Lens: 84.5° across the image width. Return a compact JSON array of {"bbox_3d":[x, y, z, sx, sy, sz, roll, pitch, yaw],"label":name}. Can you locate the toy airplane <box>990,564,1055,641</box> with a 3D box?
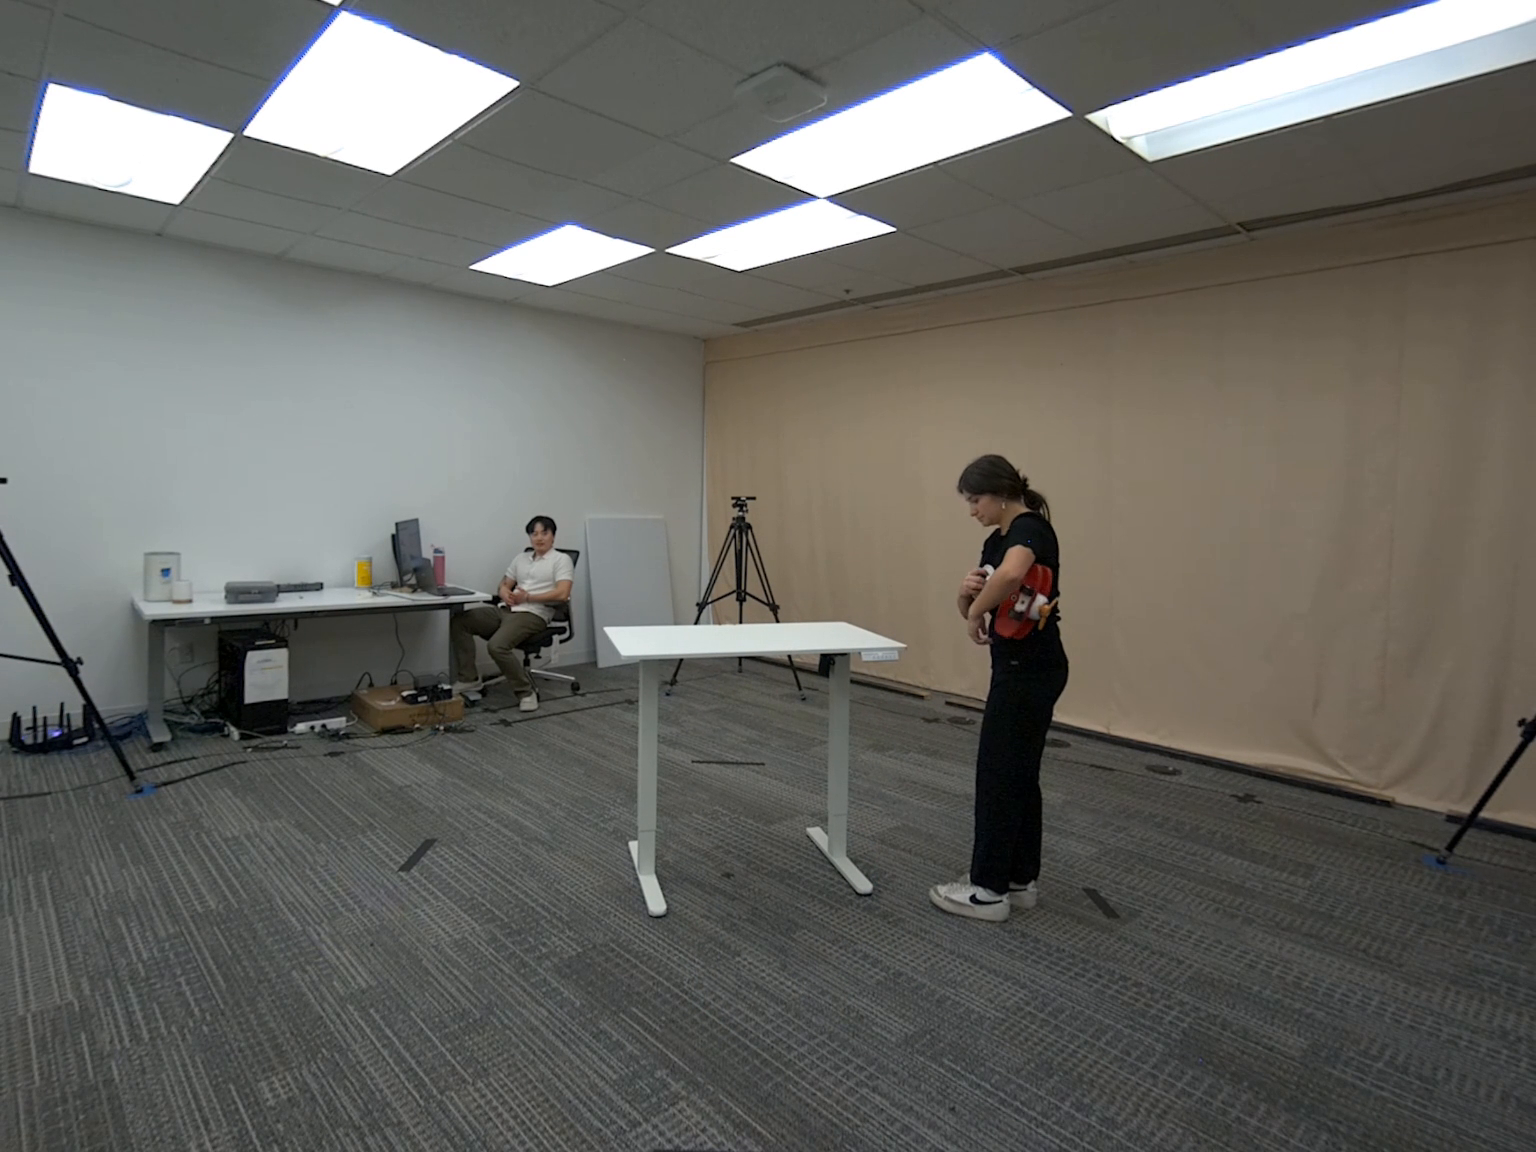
[{"bbox_3d":[0.789,0.048,2.751,0.152,0.266,0.251,17,-51,-34],"label":"toy airplane"}]
